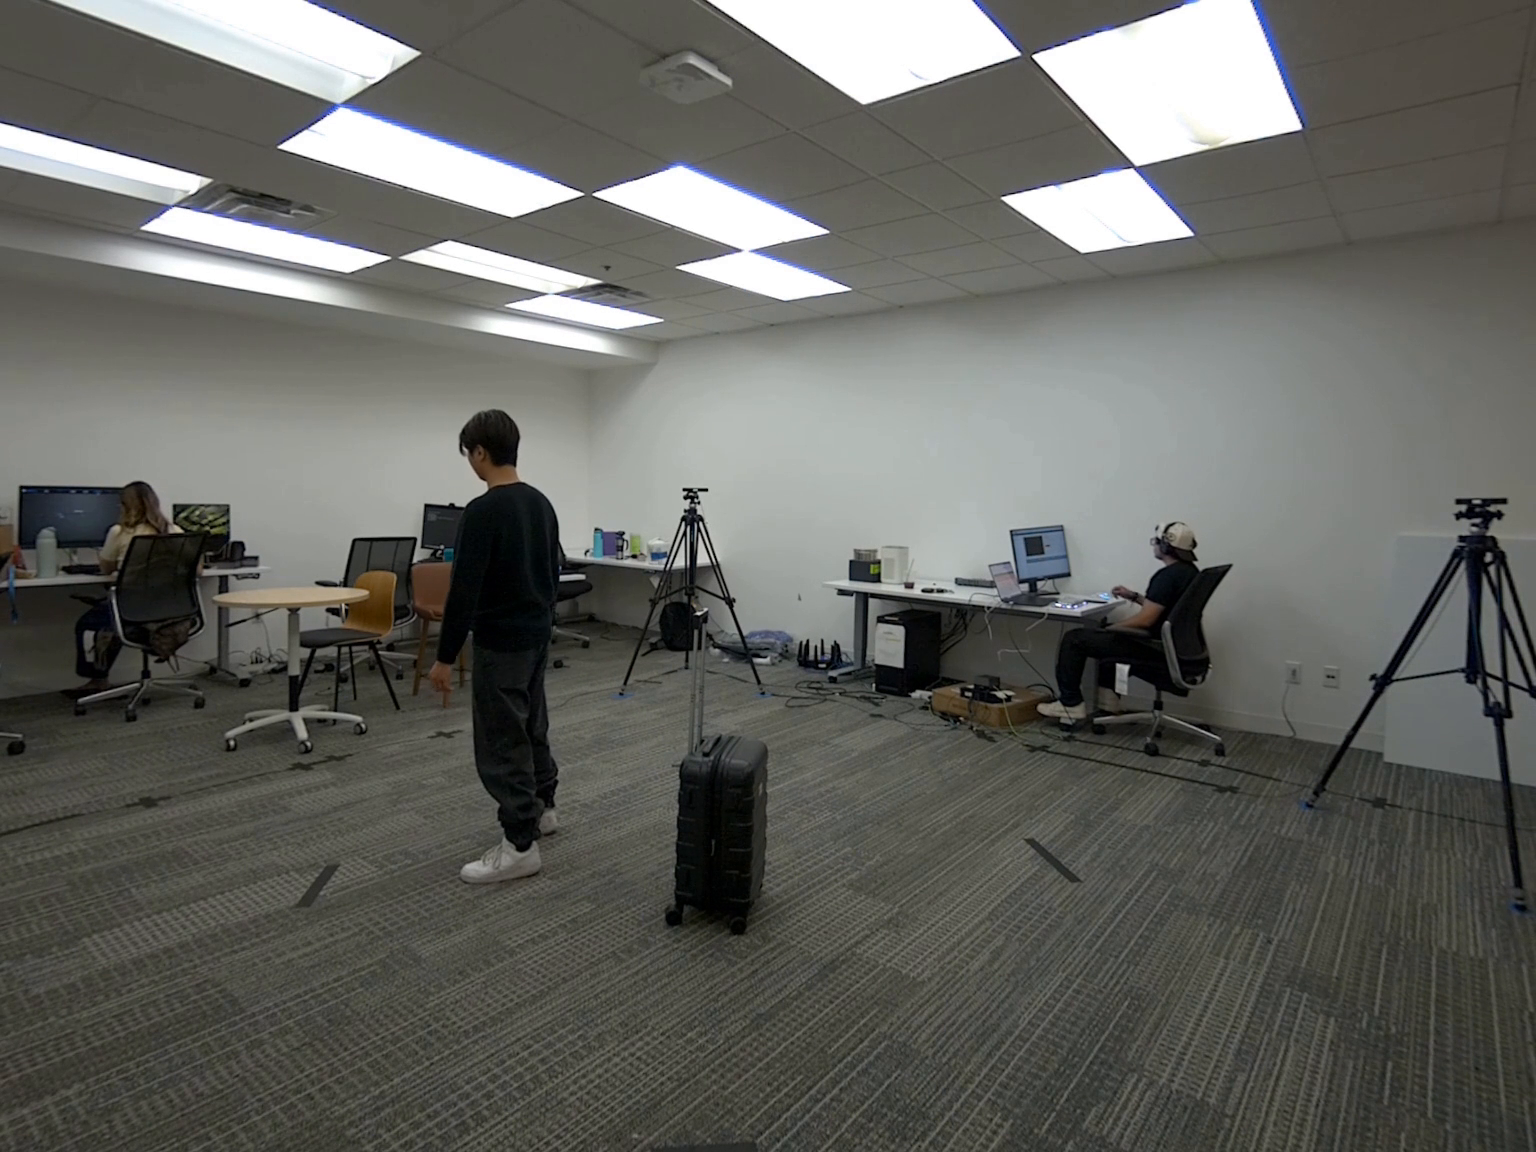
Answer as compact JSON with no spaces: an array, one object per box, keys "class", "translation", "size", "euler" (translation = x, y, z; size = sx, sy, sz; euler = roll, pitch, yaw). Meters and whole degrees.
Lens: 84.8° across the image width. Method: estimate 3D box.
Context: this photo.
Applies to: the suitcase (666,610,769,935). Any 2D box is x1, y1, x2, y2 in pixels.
[{"class":"suitcase","translation":[-0.144,0.621,2.816],"size":[0.260,0.976,0.380],"euler":[4,3,10]}]
